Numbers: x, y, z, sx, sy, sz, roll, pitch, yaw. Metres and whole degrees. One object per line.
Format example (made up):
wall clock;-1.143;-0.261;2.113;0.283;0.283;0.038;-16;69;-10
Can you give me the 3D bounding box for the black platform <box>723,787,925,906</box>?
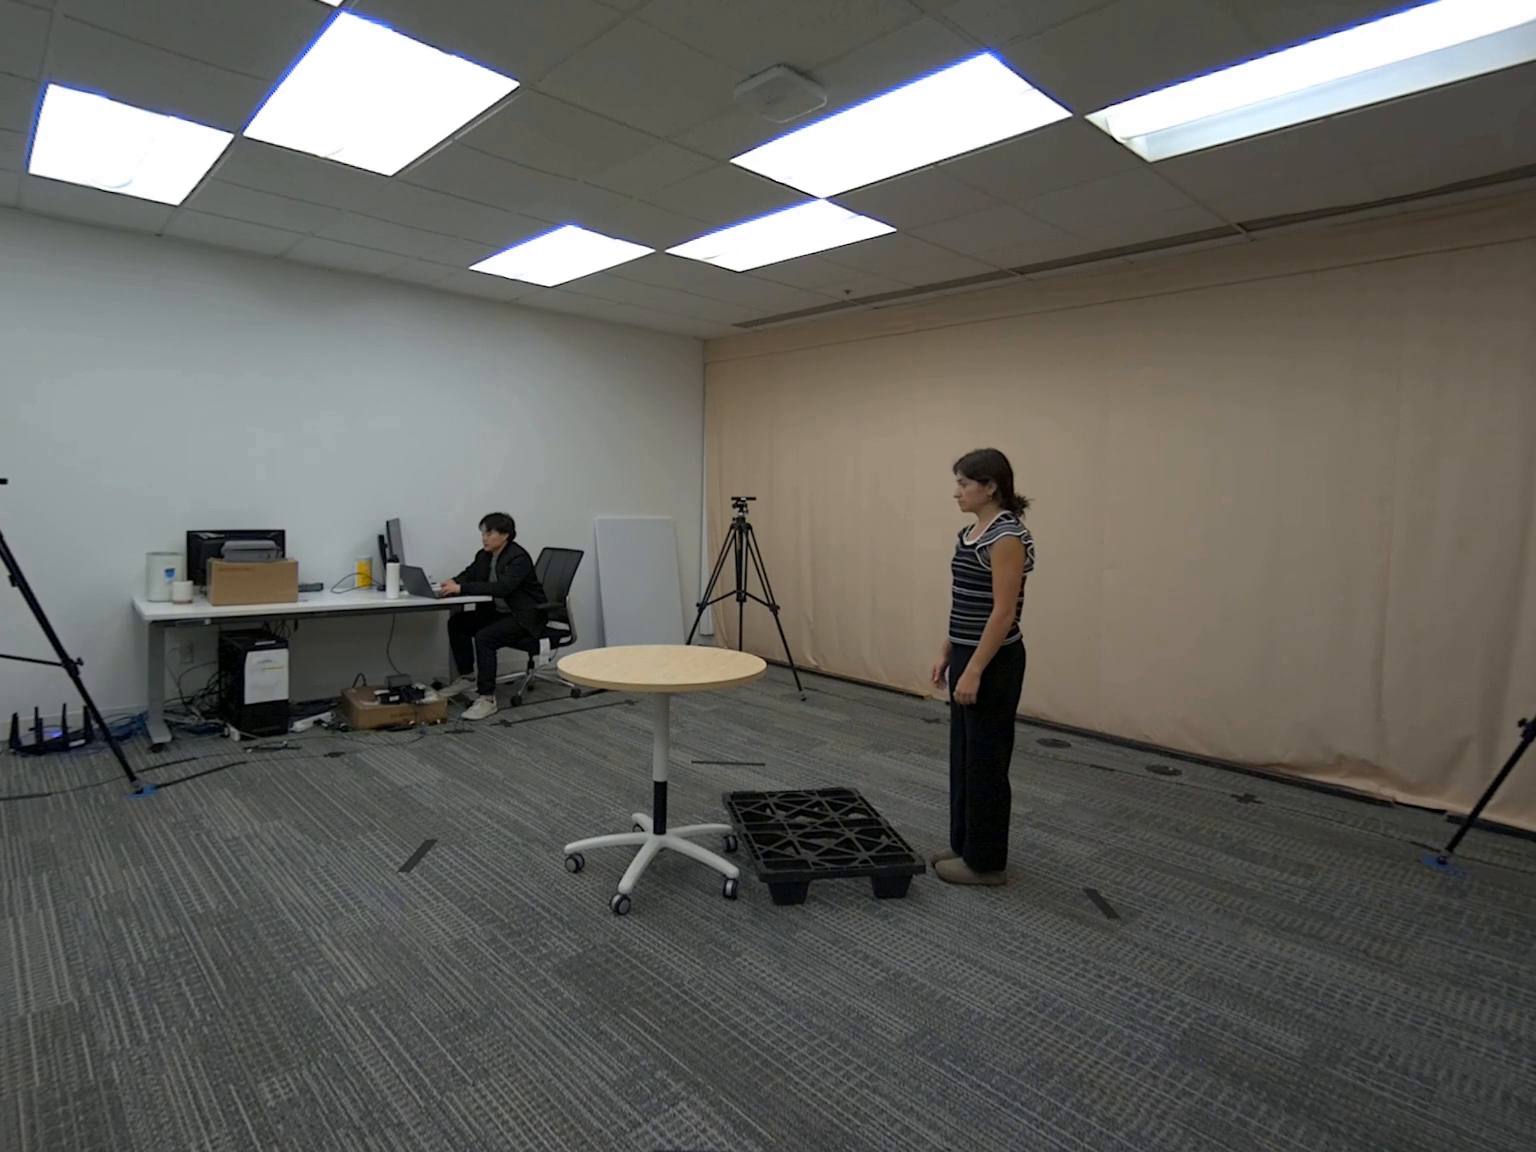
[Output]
black platform;0.169;1.030;3.267;0.600;0.143;0.815;0;5;-12
